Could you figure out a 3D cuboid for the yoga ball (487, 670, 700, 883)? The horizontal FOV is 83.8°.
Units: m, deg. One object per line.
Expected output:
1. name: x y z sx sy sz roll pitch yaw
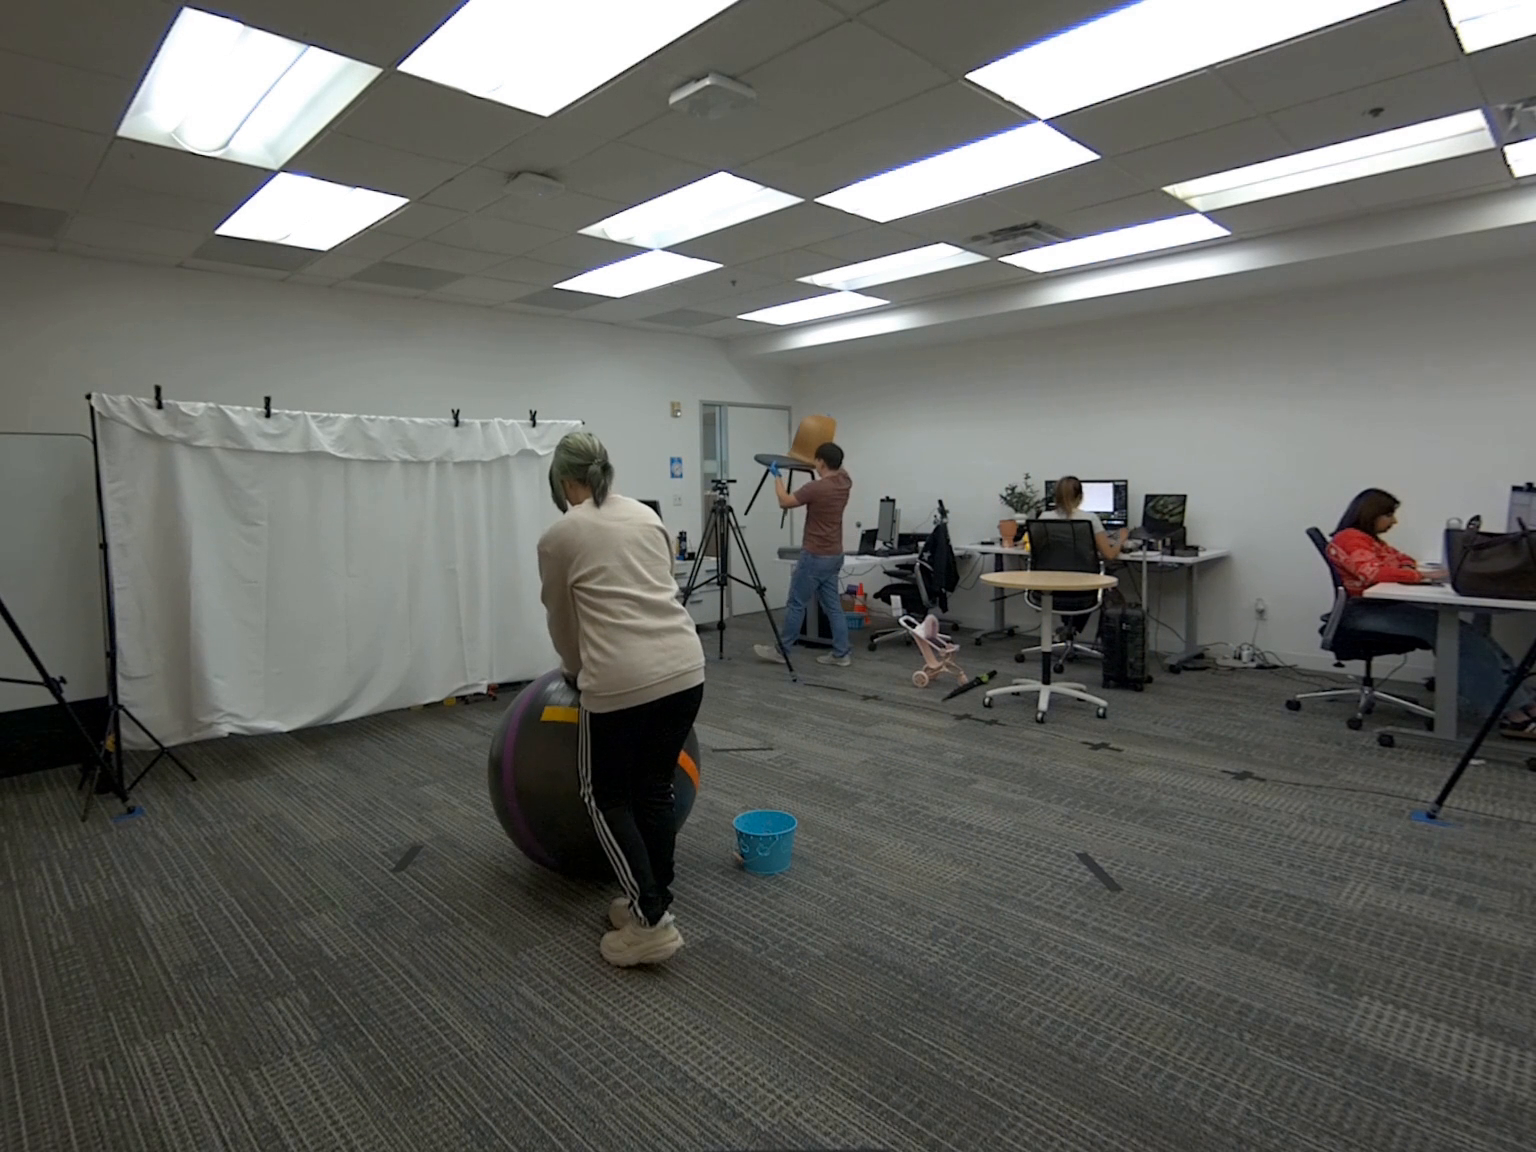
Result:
1. yoga ball: -0.629 0.692 3.095 0.757 0.755 0.762 -1 5 -2
